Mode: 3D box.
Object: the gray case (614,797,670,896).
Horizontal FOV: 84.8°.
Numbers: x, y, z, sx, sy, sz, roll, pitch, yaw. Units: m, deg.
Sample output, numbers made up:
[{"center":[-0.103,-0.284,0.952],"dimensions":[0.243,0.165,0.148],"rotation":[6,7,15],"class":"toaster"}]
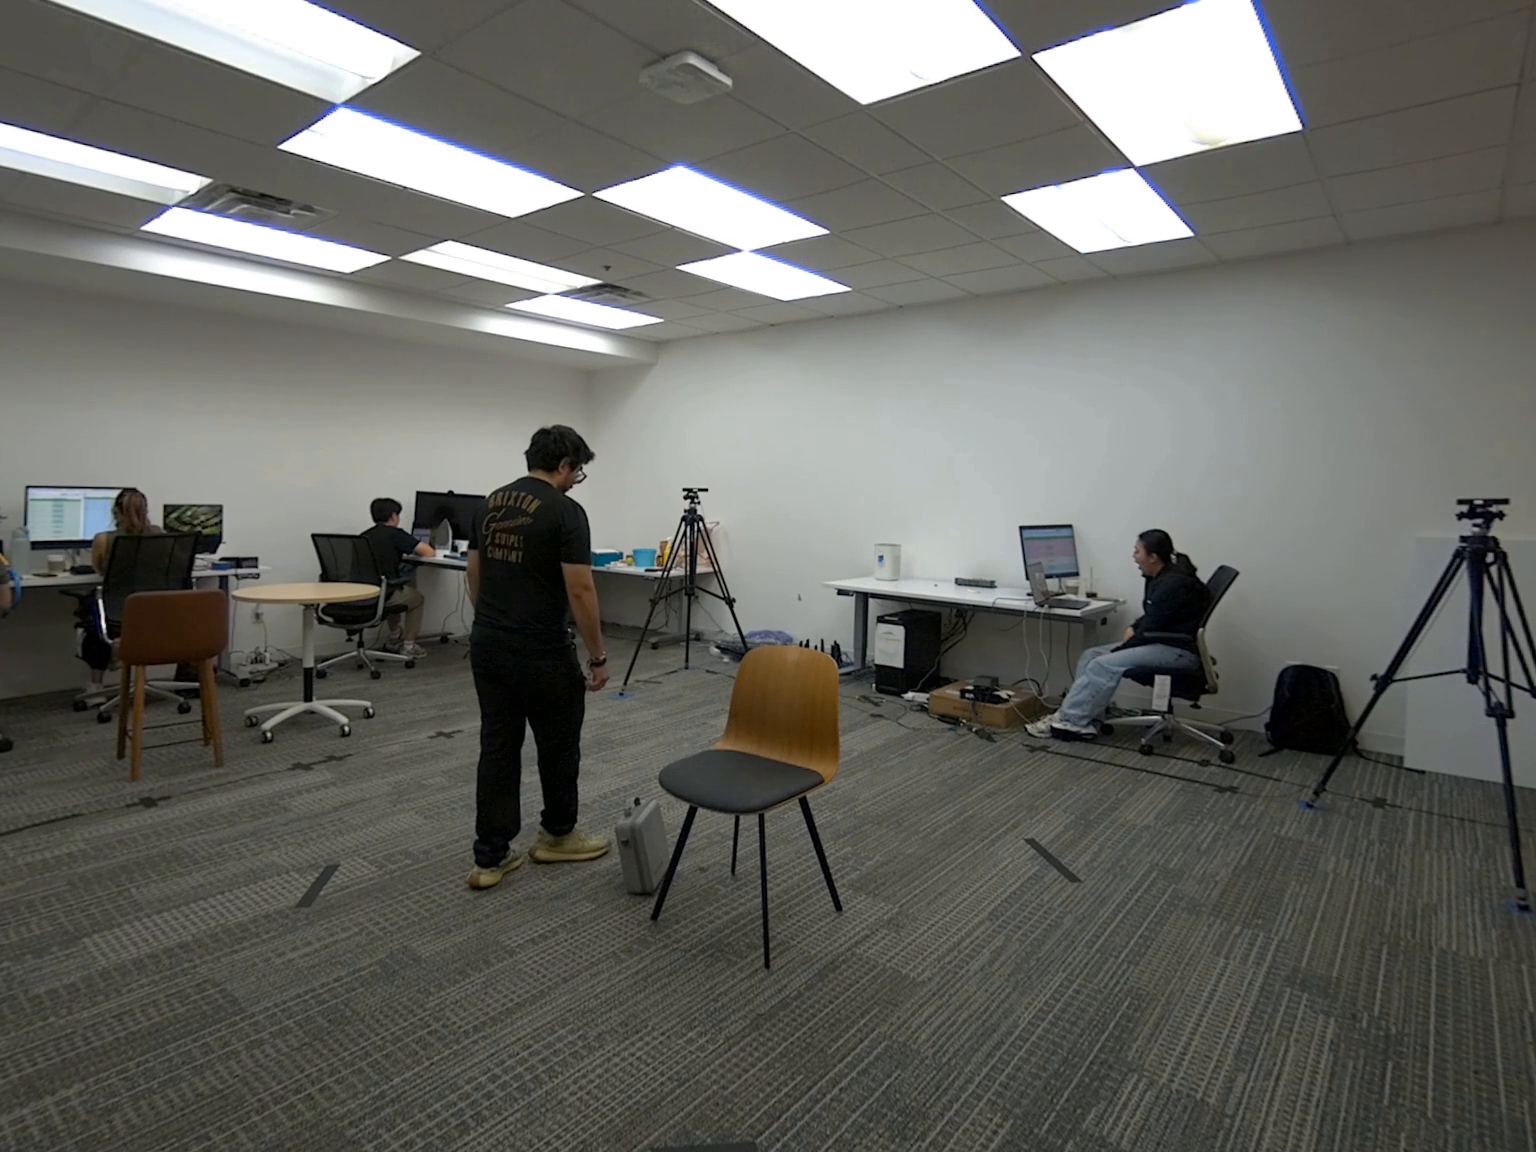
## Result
[{"center":[-0.440,0.939,2.997],"dimensions":[0.105,0.261,0.254],"rotation":[-7,1,9],"class":"gray case"}]
